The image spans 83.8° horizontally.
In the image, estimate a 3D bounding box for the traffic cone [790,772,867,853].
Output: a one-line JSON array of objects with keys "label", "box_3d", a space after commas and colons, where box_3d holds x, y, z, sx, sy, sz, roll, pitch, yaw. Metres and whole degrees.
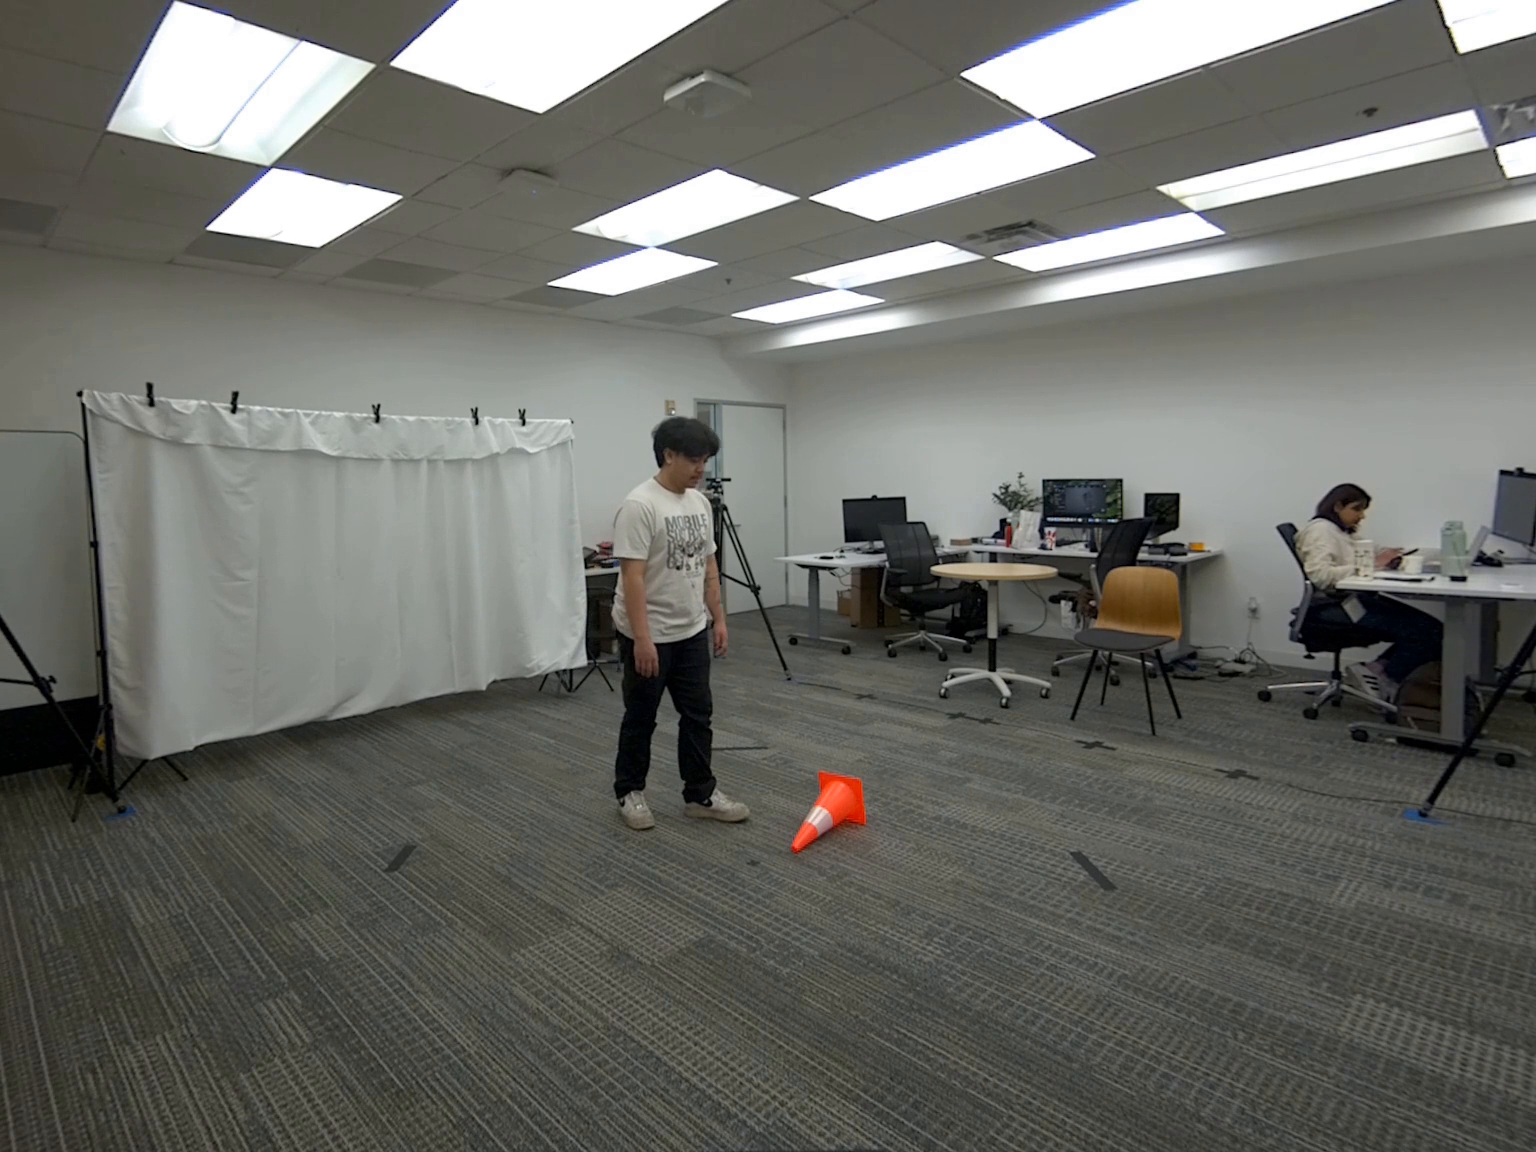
[{"label": "traffic cone", "box_3d": [0.205, 0.962, 3.325, 0.211, 0.200, 0.379, 0, 18, 36]}]
